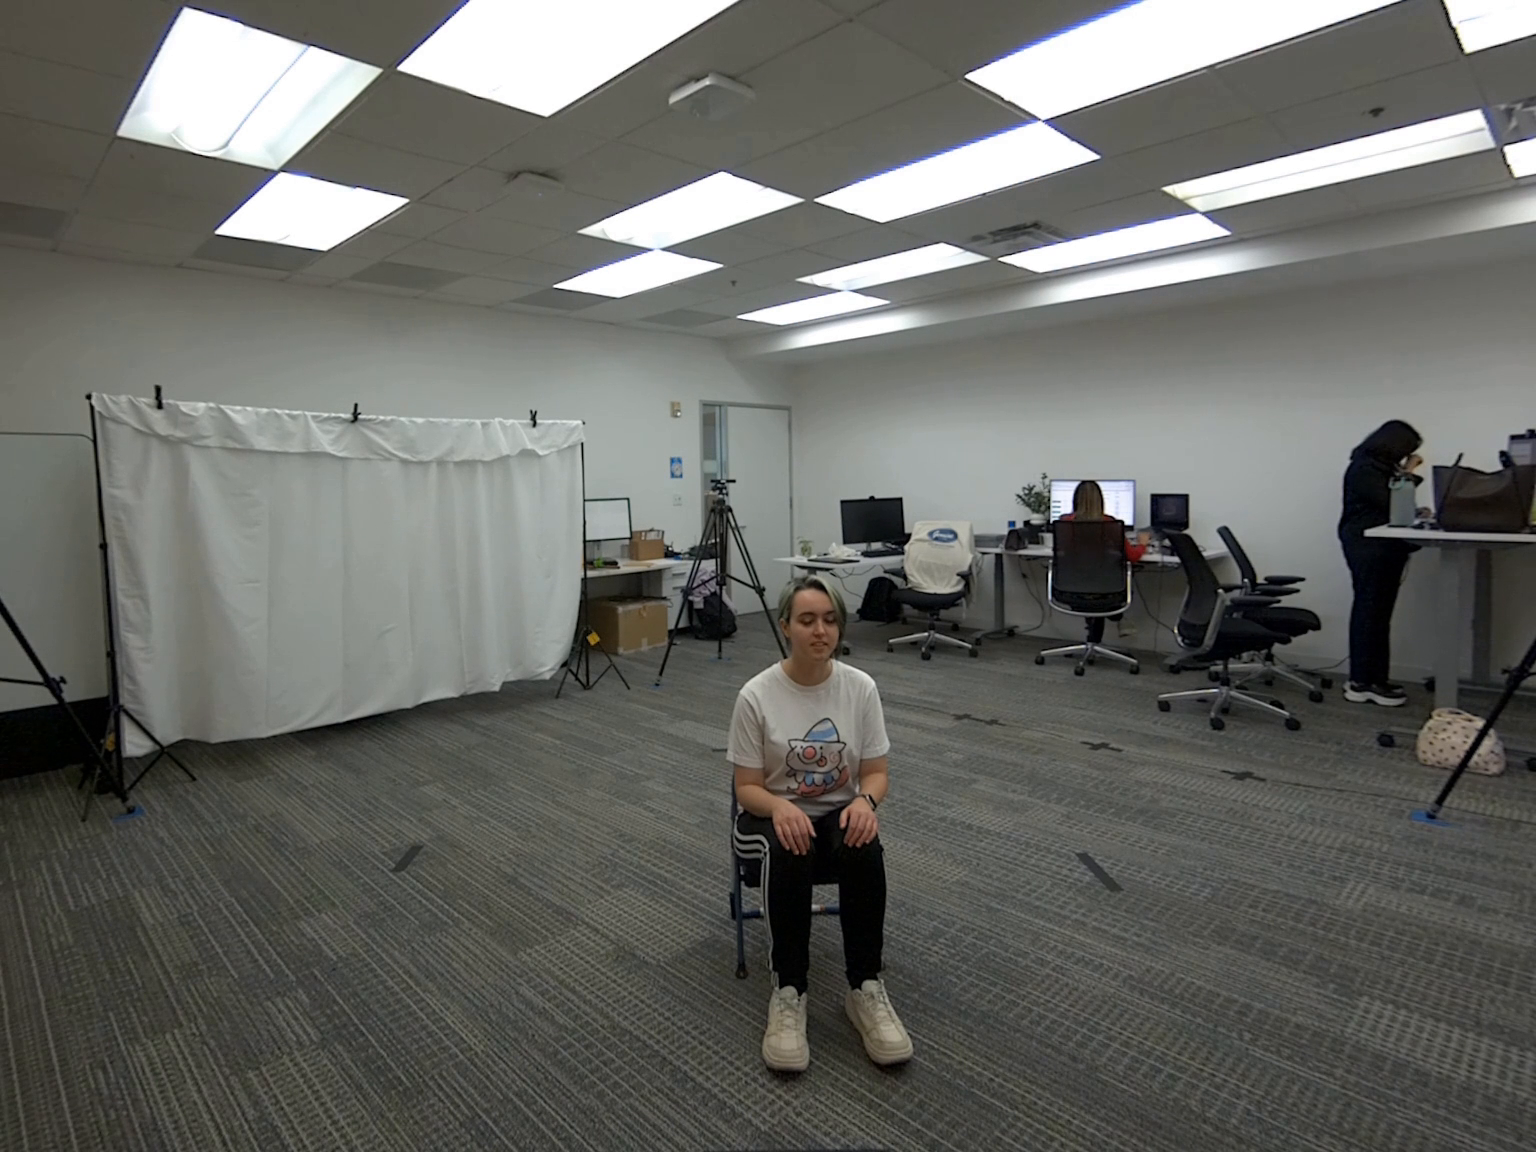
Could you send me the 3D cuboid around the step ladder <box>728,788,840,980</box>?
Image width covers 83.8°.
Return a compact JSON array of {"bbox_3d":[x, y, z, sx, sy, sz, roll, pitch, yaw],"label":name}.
[{"bbox_3d":[0.108,0.811,2.566,0.429,0.603,0.352,-2,5,-5],"label":"step ladder"}]
